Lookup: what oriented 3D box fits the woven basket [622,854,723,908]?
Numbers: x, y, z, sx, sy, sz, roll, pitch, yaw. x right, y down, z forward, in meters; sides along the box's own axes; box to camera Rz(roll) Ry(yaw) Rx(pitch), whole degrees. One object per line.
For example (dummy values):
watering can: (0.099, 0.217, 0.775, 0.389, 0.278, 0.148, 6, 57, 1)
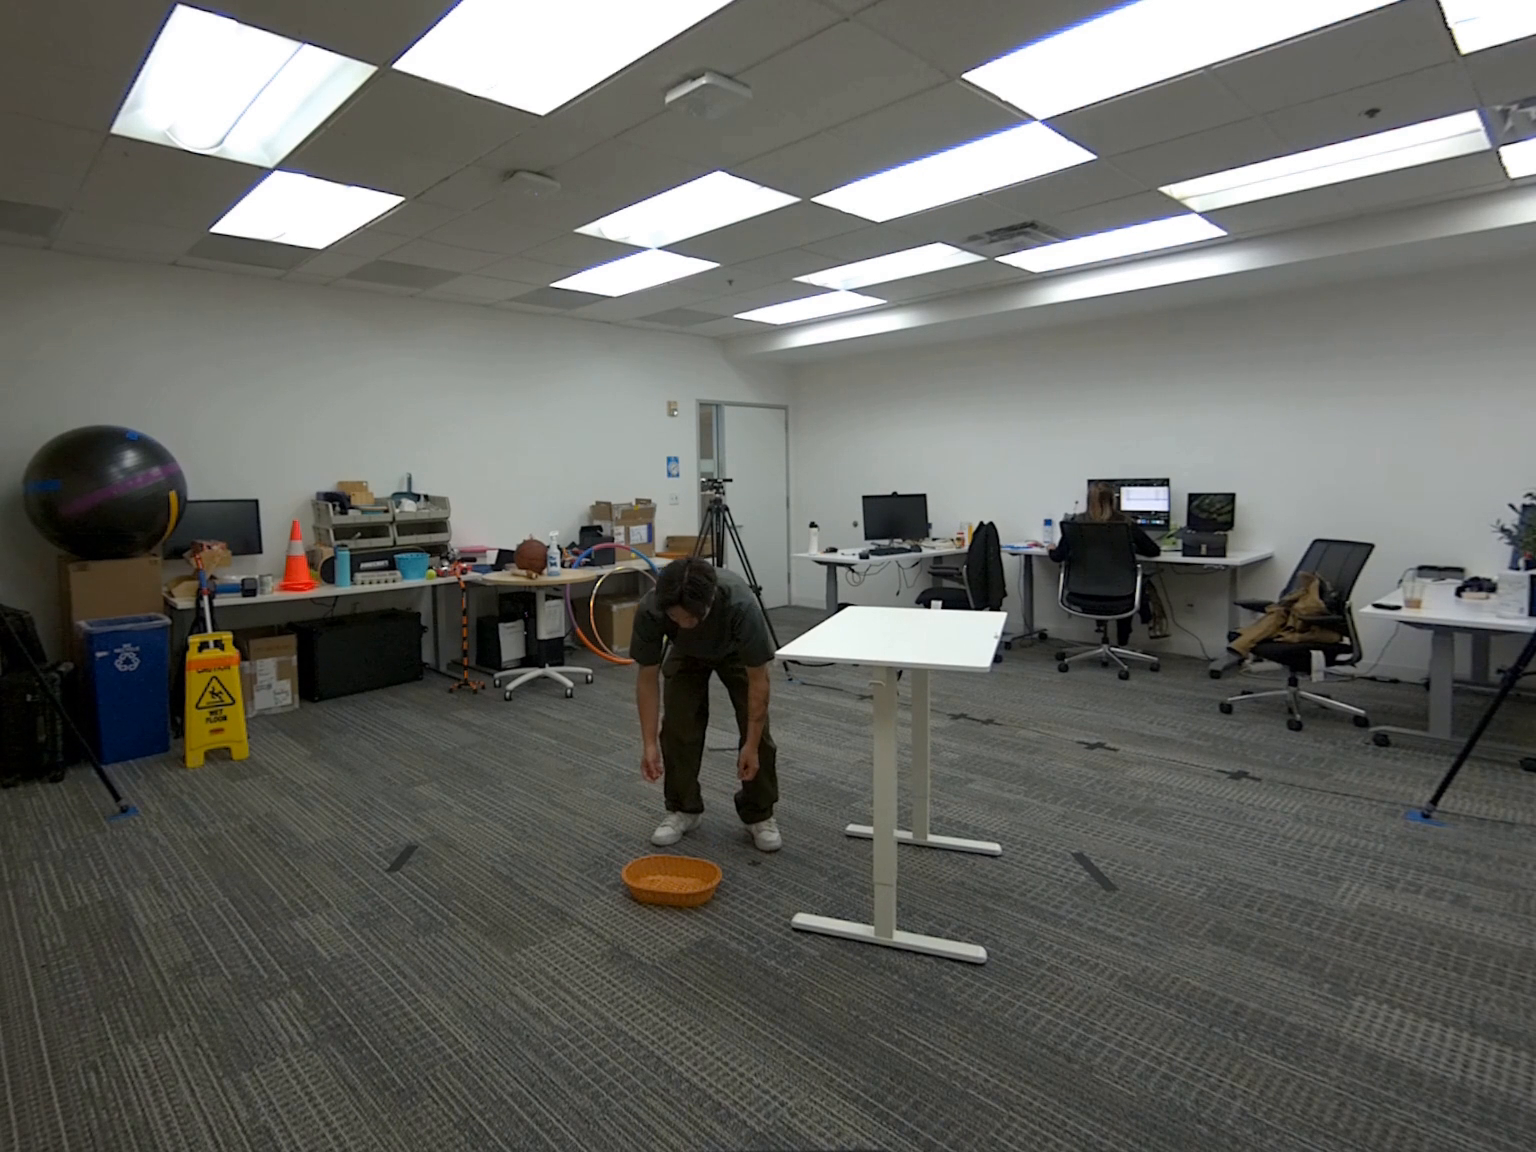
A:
woven basket: (-0.324, 1.036, 2.894, 0.356, 0.073, 0.249, 1, 7, 17)
